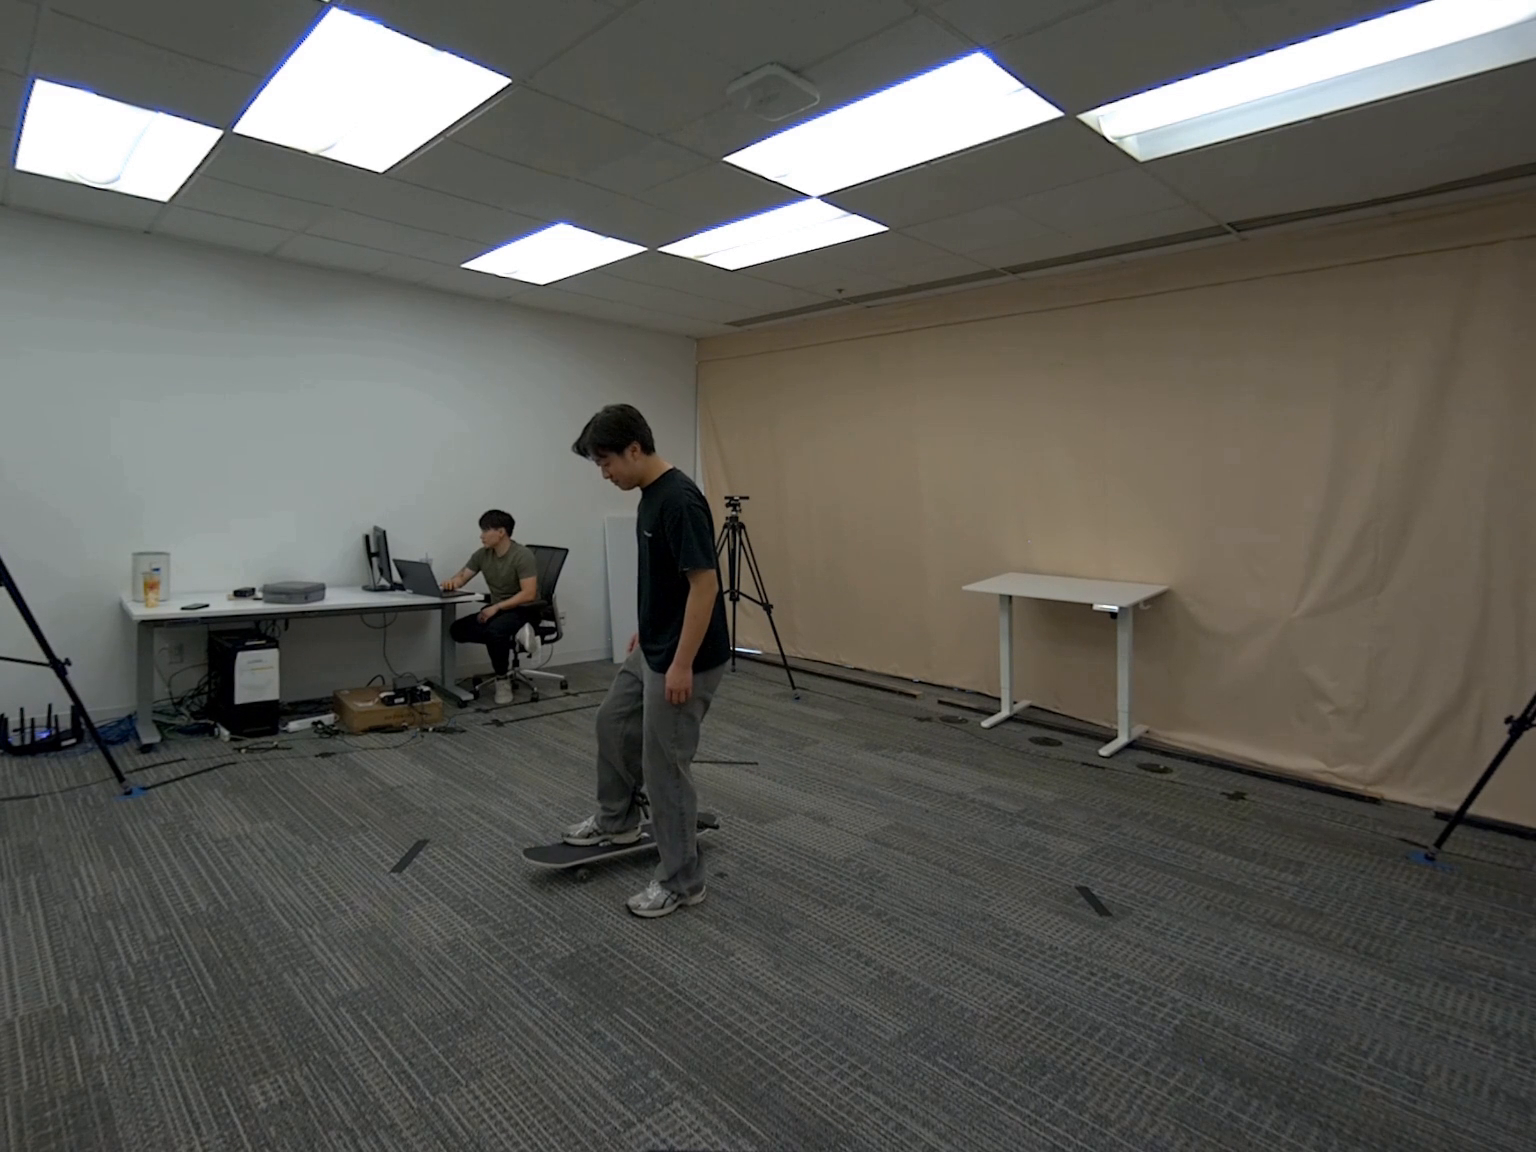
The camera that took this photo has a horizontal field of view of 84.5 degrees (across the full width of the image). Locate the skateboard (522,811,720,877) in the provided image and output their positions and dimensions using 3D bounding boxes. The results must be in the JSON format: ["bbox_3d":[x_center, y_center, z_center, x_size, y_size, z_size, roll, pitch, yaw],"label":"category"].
[{"bbox_3d":[-0.554,1.031,3.186,0.769,0.110,0.198,-2,3,-33],"label":"skateboard"}]
